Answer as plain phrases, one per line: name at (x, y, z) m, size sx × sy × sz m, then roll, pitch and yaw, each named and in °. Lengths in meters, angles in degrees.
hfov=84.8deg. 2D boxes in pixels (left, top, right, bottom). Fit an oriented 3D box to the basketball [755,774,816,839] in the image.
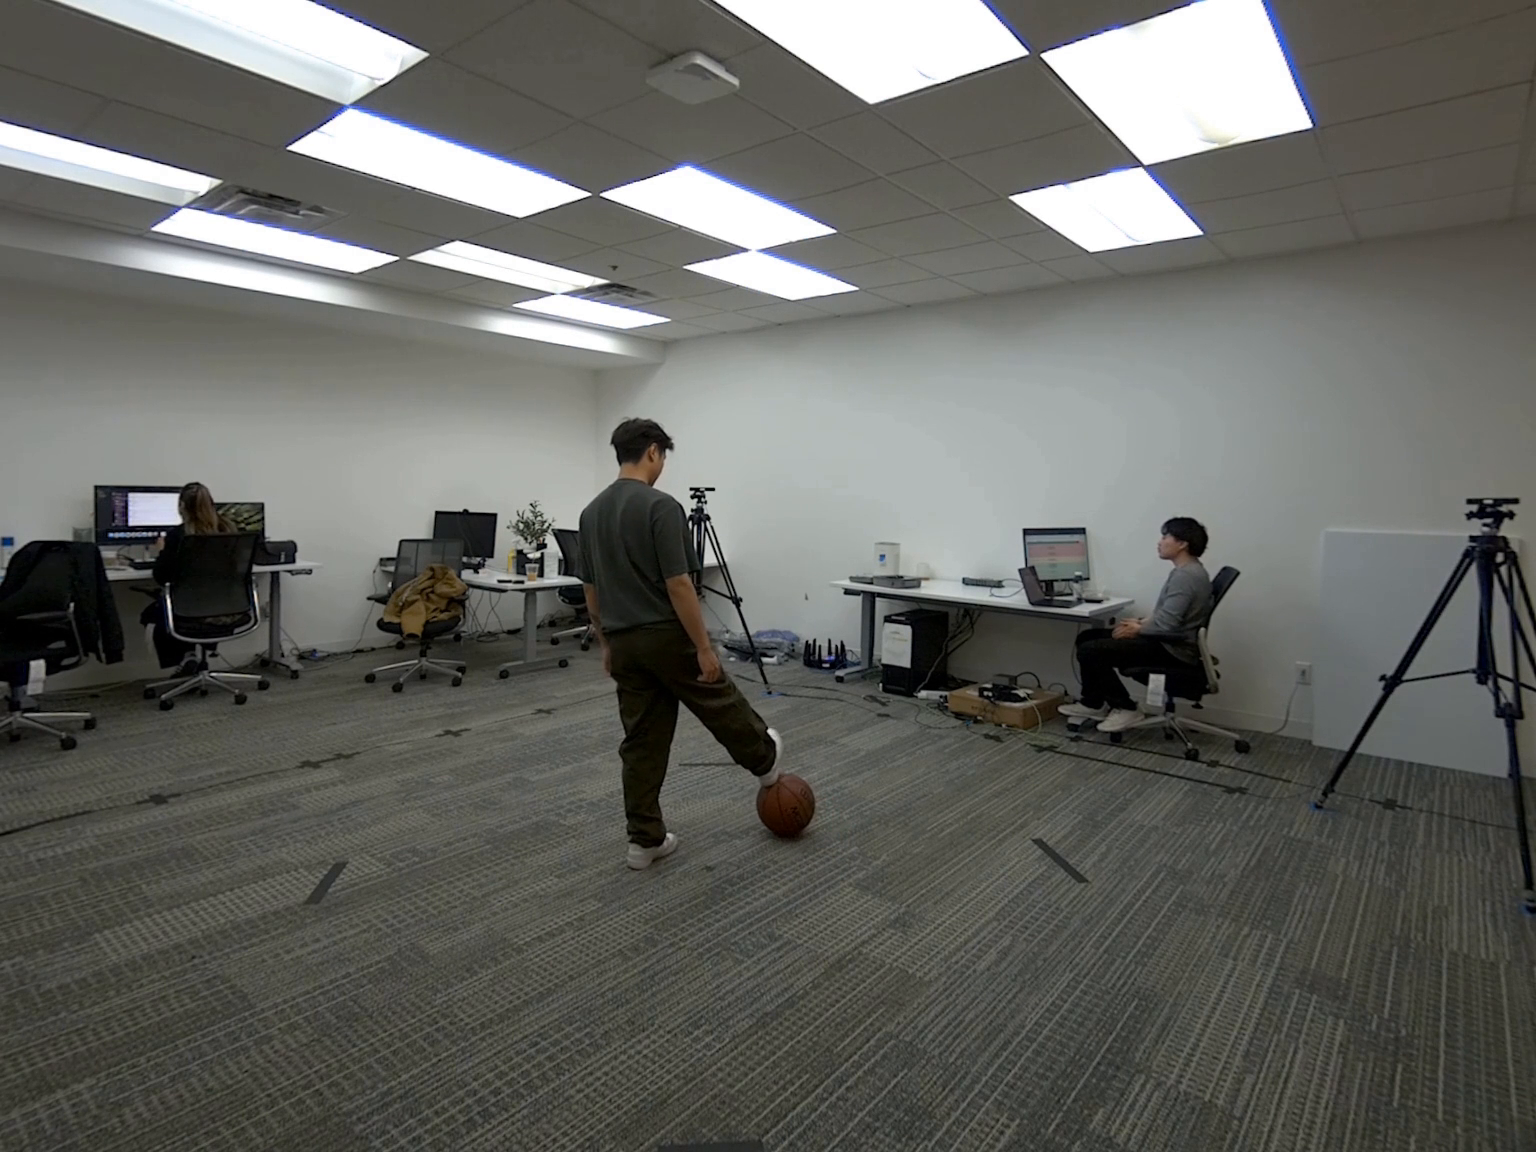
basketball at (0.063, 0.918, 3.447) m, size 0.235 × 0.235 × 0.237 m, roll 1°, pitch 4°, yaw -2°
